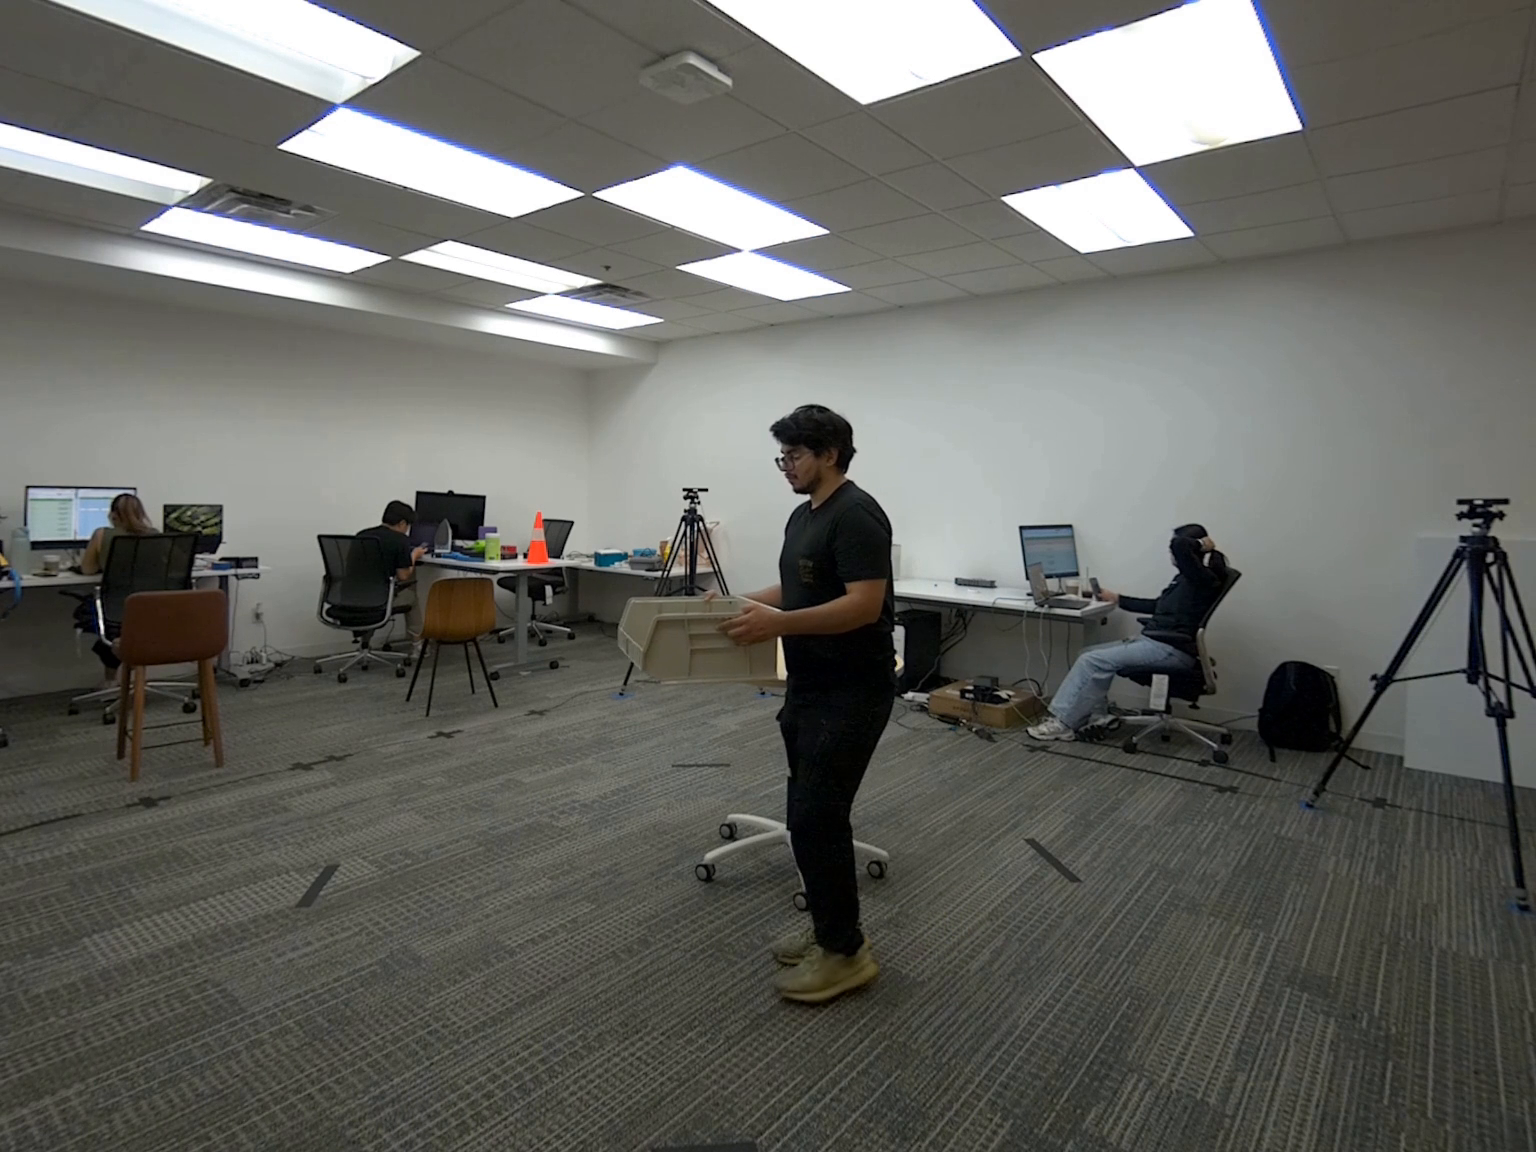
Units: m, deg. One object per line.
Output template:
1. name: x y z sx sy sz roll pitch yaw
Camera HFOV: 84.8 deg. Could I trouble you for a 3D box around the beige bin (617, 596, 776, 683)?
1. beige bin: -0.207 0.173 2.375 0.371 0.188 0.431 -1 5 -17
